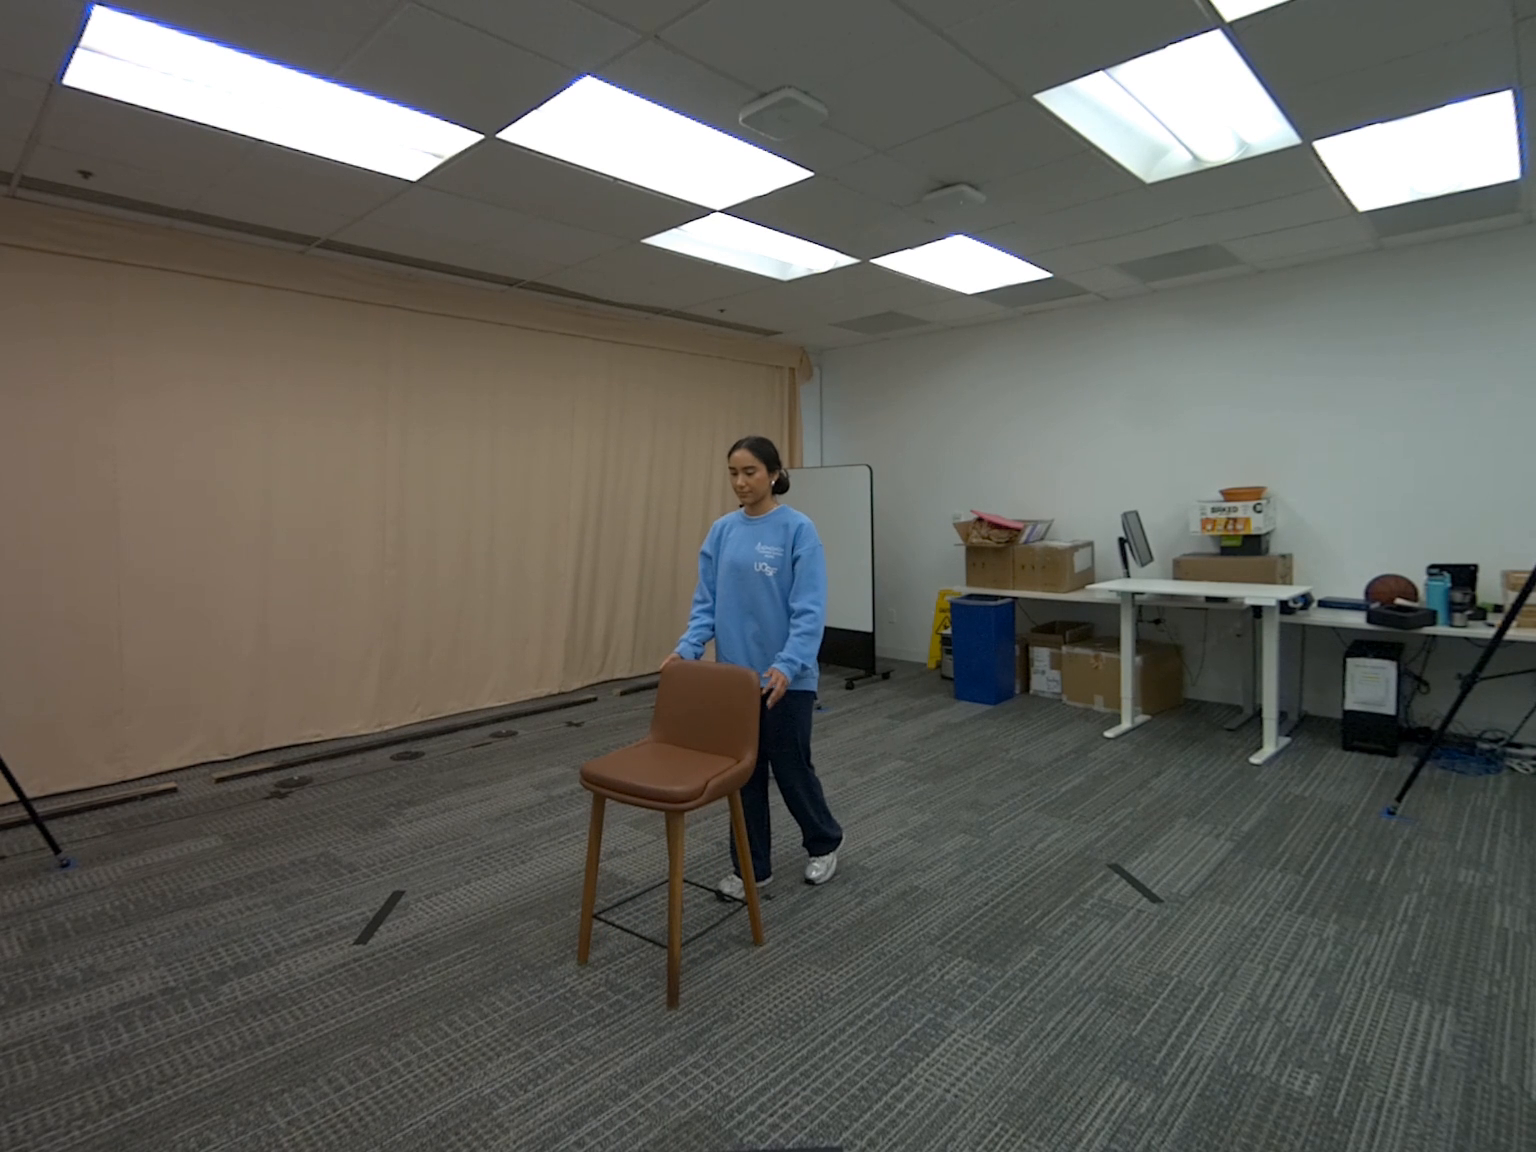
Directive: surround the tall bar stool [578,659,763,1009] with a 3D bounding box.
[{"bbox_3d":[-0.293,0.742,2.603,0.471,0.889,0.453,2,2,38],"label":"tall bar stool"}]
